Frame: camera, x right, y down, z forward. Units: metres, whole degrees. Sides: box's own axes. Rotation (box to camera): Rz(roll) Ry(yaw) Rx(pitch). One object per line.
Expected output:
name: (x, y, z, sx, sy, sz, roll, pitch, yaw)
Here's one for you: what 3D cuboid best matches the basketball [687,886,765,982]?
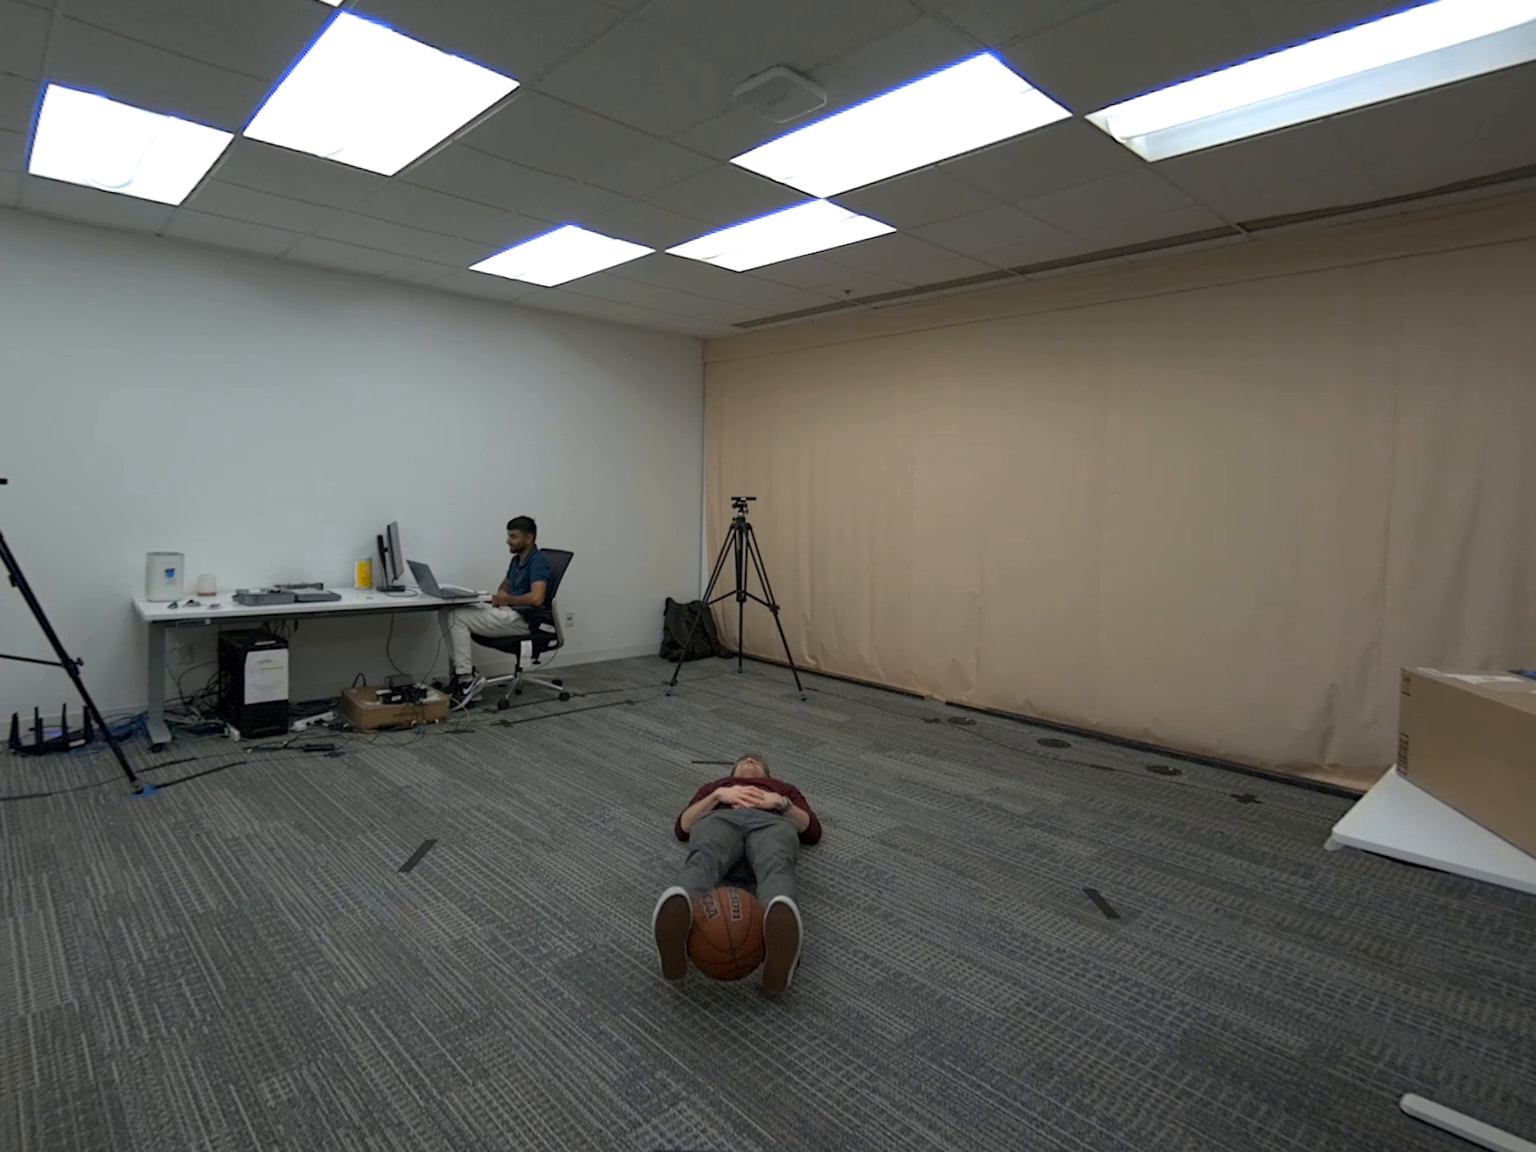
basketball: (-0.120, 0.993, 2.334, 0.236, 0.234, 0.237, 0, 7, -1)
